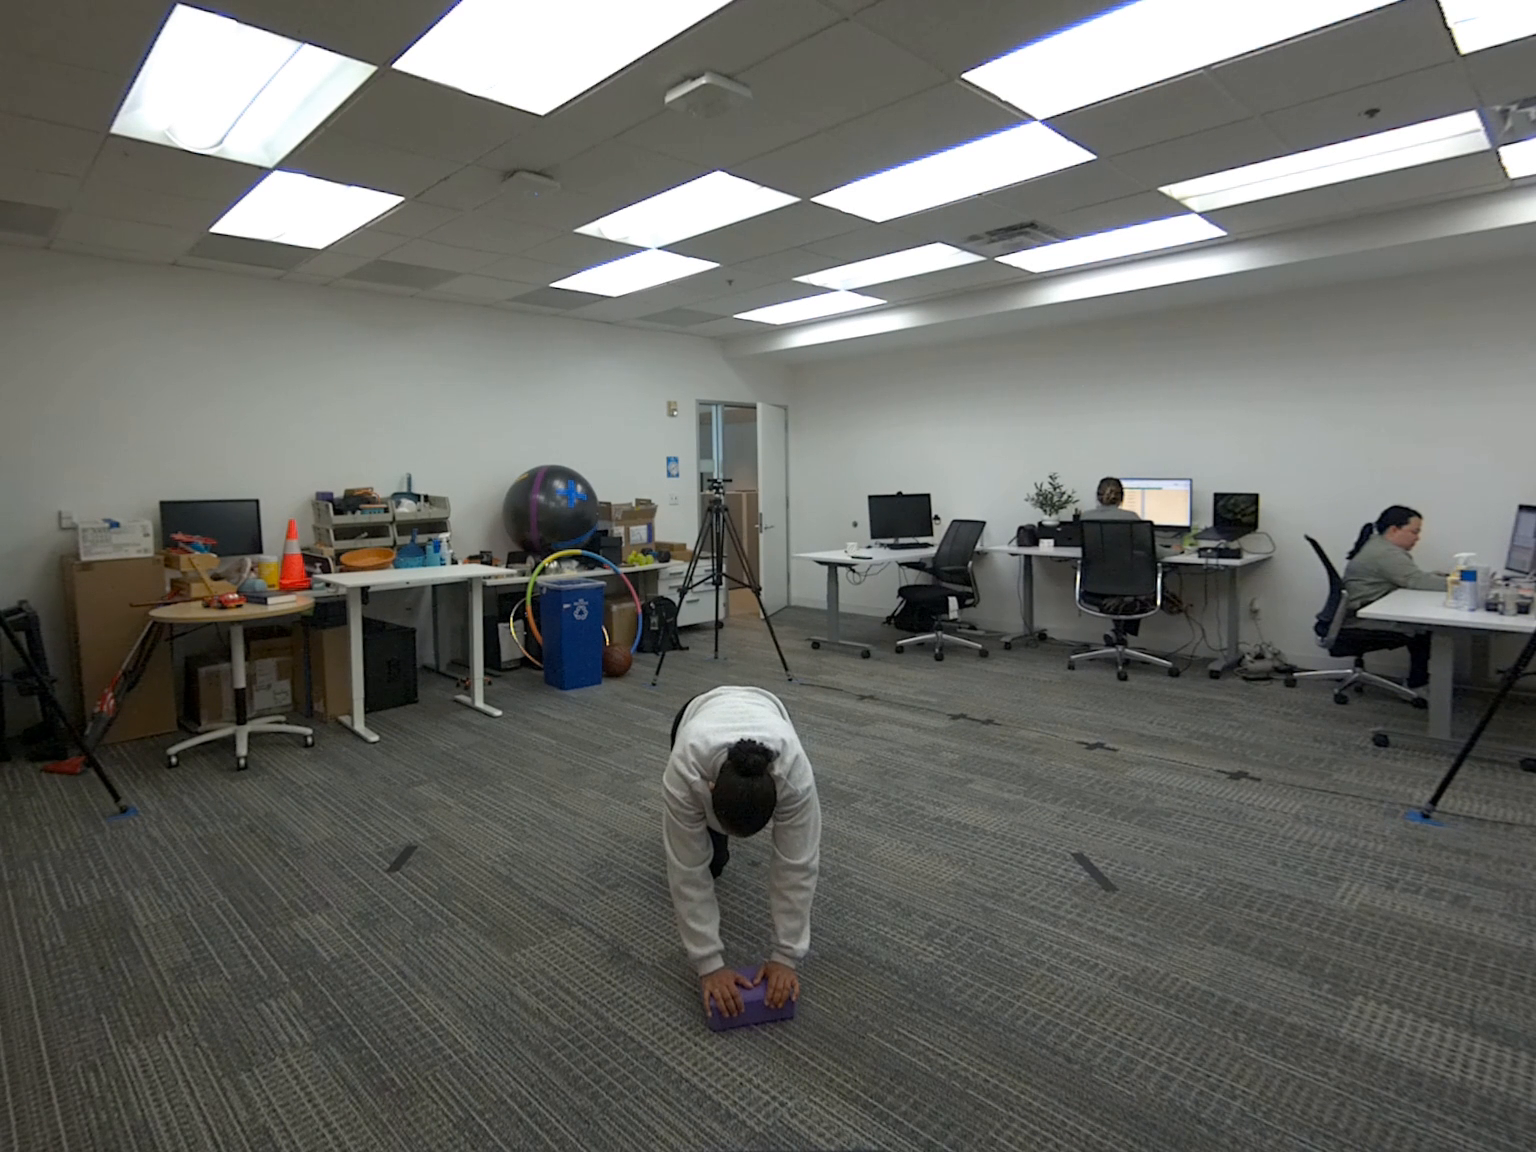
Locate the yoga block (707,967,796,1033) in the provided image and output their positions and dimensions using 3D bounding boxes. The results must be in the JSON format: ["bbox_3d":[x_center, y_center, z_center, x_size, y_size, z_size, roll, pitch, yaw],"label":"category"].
[{"bbox_3d":[-0.045,1.119,2.255,0.227,0.076,0.151,-2,3,-13],"label":"yoga block"}]
